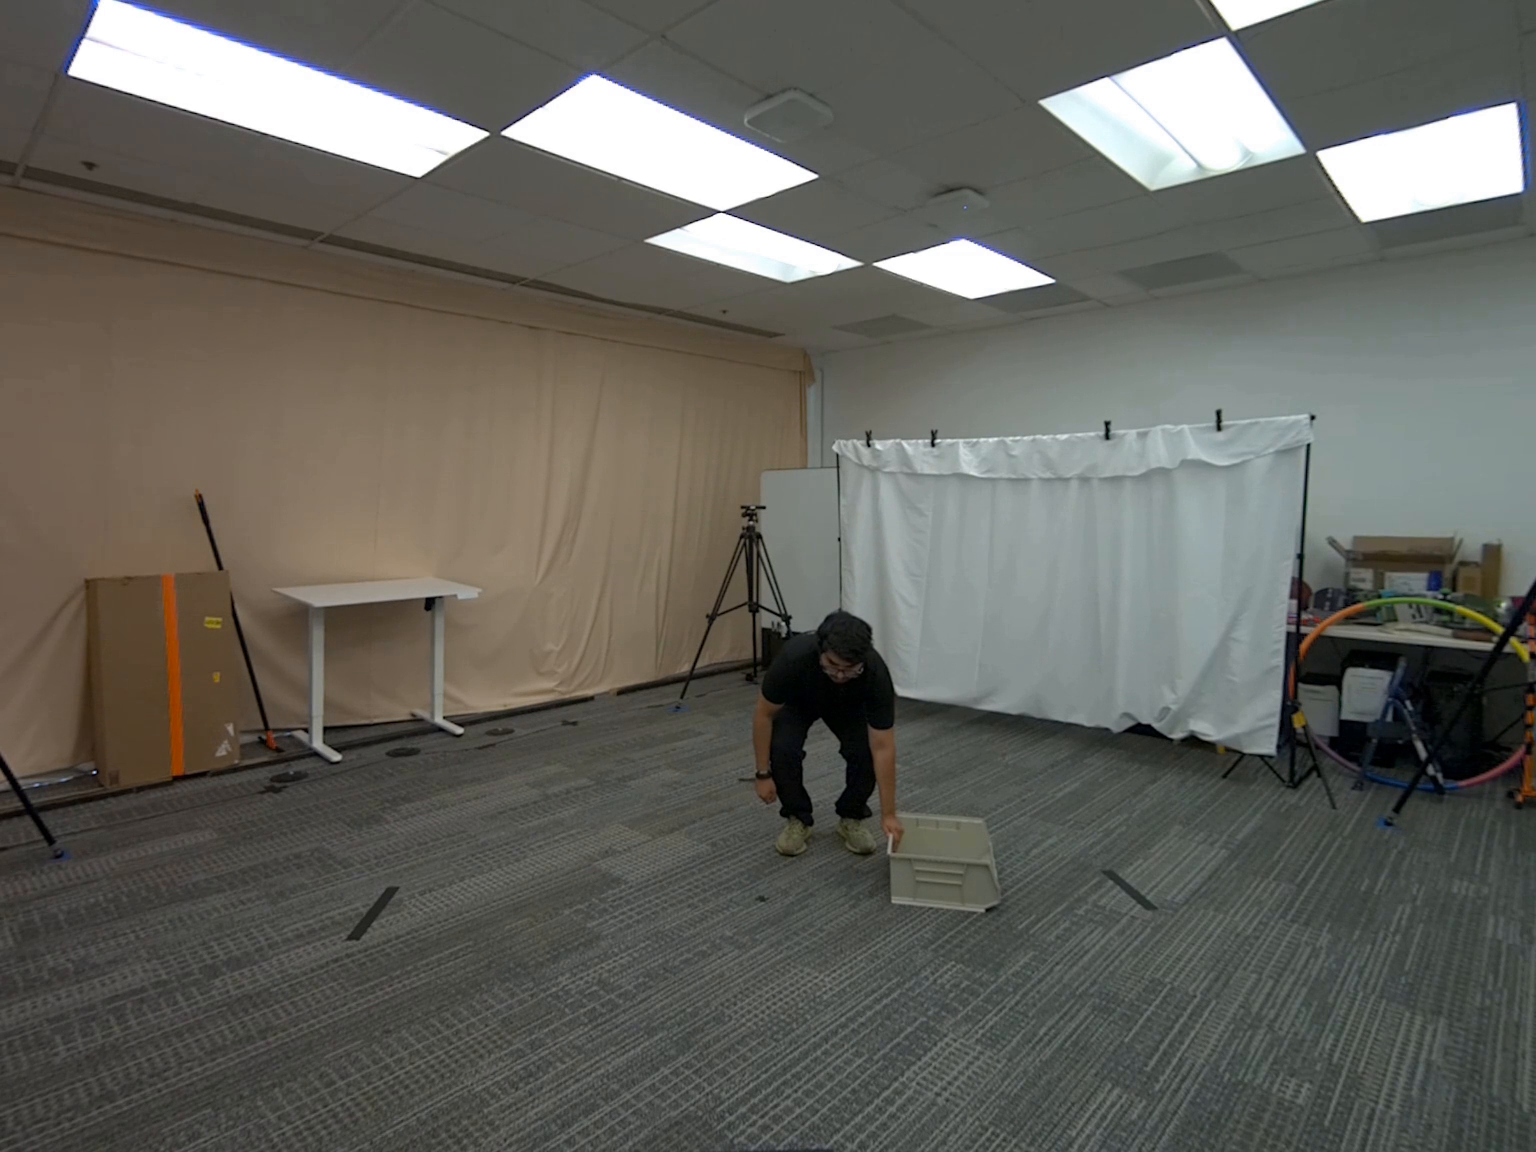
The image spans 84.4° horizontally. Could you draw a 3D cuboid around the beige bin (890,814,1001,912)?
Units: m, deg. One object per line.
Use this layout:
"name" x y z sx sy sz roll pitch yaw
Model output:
"beige bin" 0.650 1.045 3.099 0.383 0.188 0.418 -1 5 12
